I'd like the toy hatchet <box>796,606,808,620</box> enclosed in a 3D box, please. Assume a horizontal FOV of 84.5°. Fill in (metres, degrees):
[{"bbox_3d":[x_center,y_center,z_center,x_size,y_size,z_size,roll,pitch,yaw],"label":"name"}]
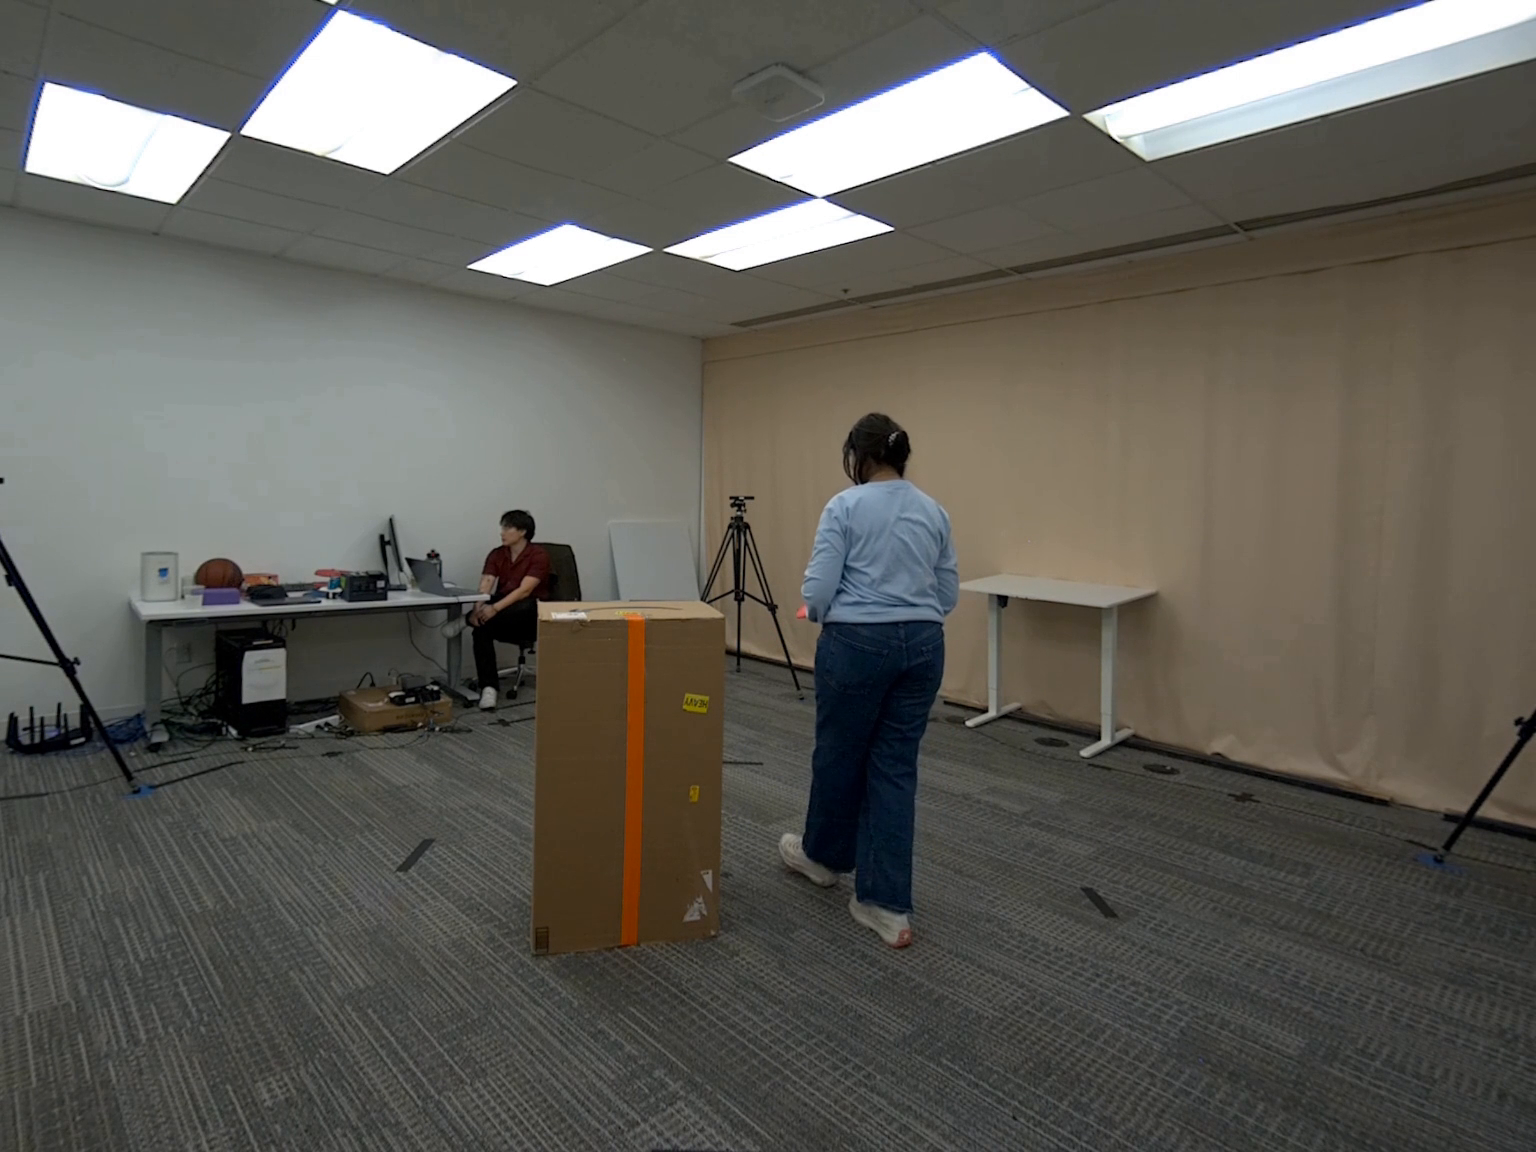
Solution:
[{"bbox_3d":[0.224,0.146,2.982,0.129,0.029,0.277,-18,17,-37],"label":"toy hatchet"}]
